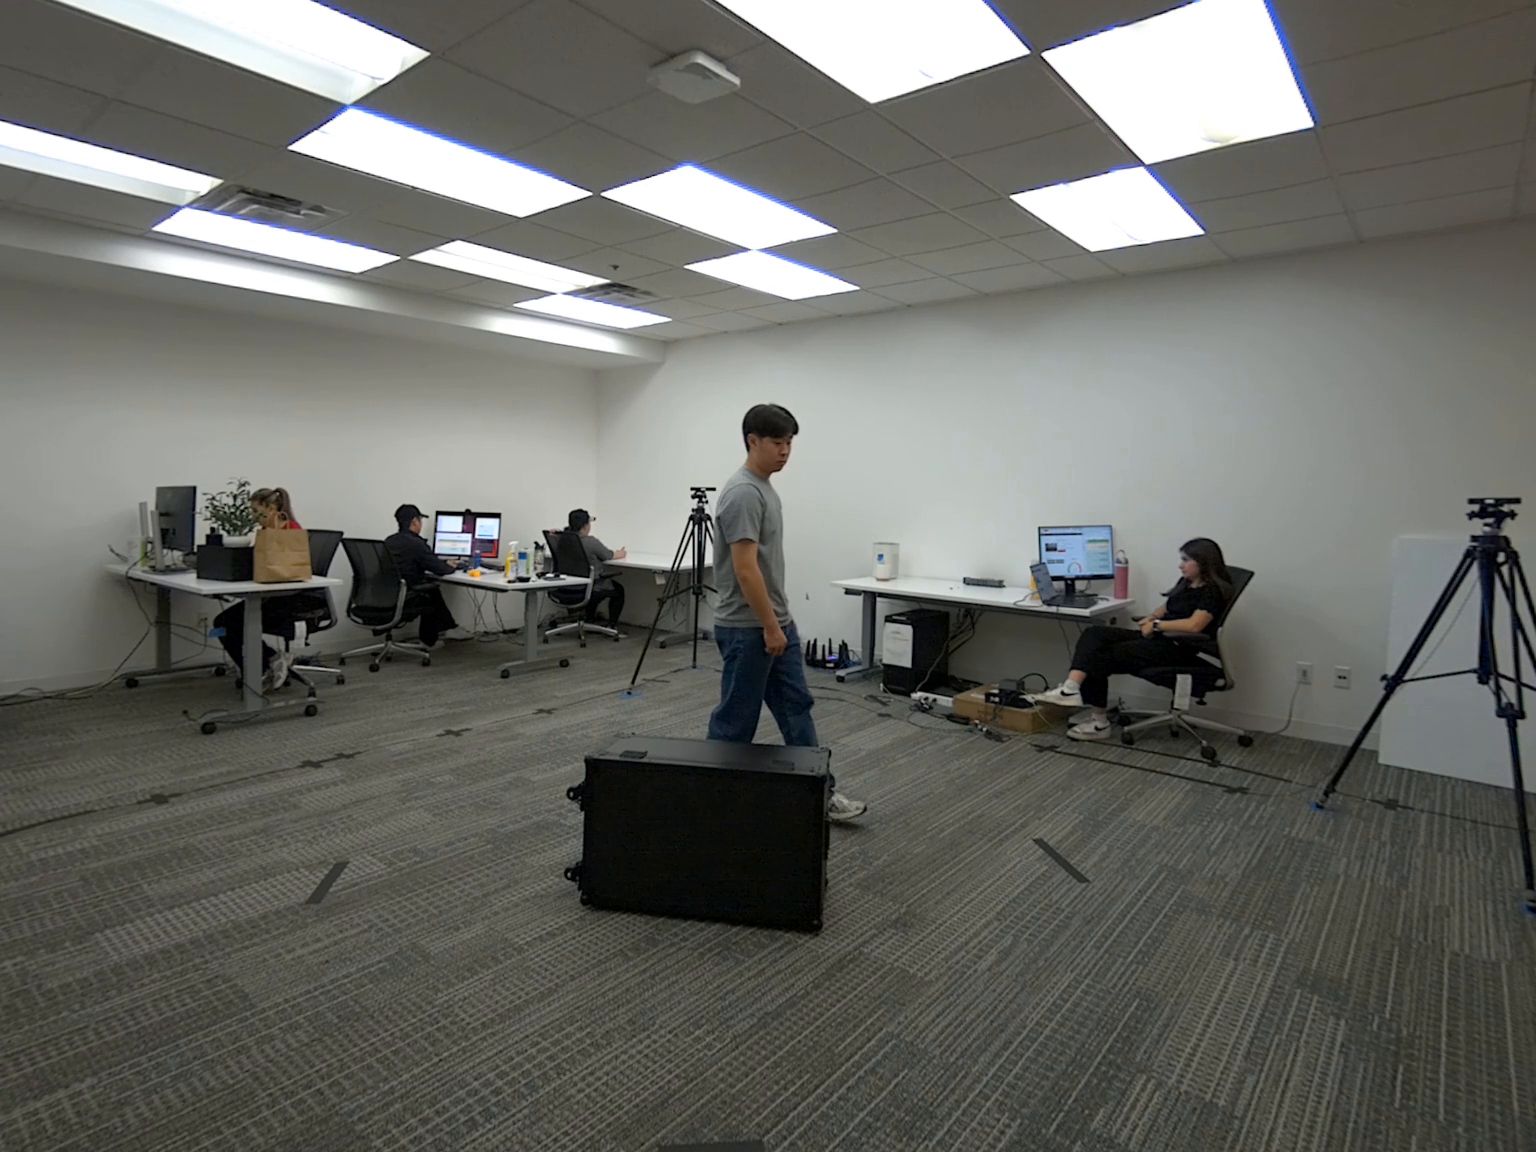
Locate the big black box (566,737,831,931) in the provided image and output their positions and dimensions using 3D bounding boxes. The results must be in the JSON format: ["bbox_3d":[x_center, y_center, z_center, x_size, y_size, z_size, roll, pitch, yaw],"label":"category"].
[{"bbox_3d":[-0.238,0.827,2.901,0.871,0.521,0.392,2,1,10],"label":"big black box"}]
